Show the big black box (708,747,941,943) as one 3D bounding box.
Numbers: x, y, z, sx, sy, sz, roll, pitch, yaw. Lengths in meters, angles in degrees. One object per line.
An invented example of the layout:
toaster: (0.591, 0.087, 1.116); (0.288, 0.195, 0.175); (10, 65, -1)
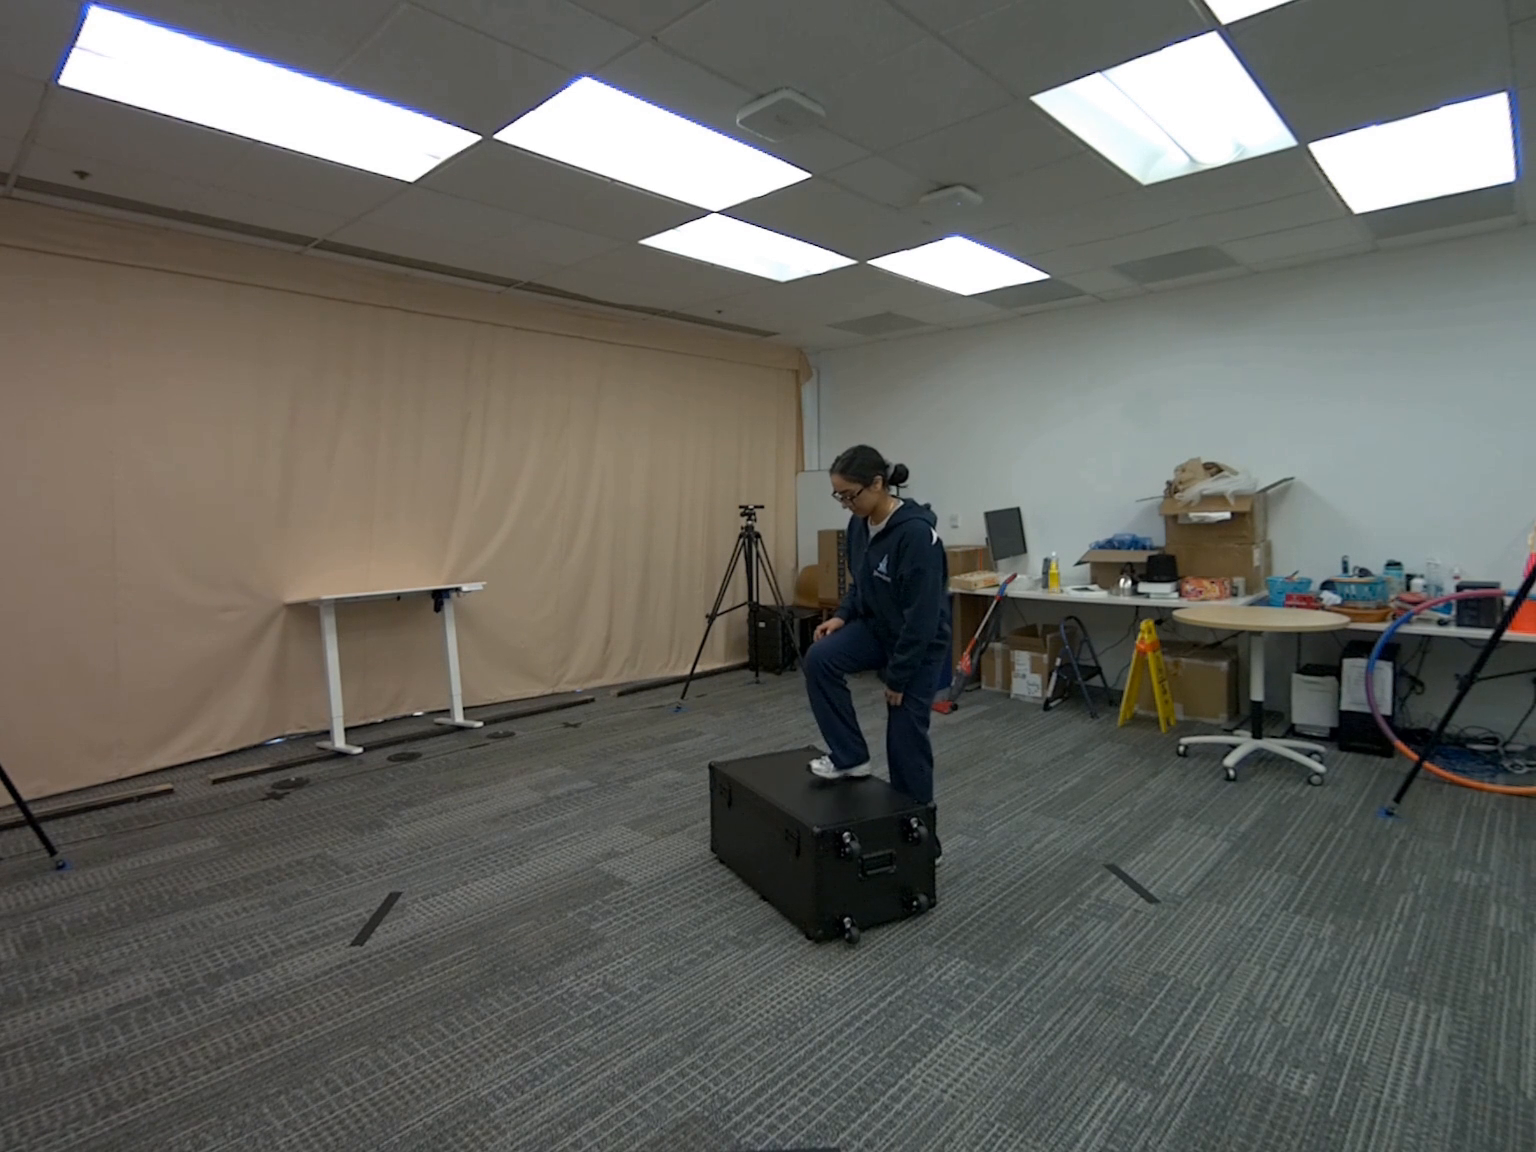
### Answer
big black box: (0.189, 0.955, 3.057); (0.386, 0.520, 0.886); (-4, 6, -29)
